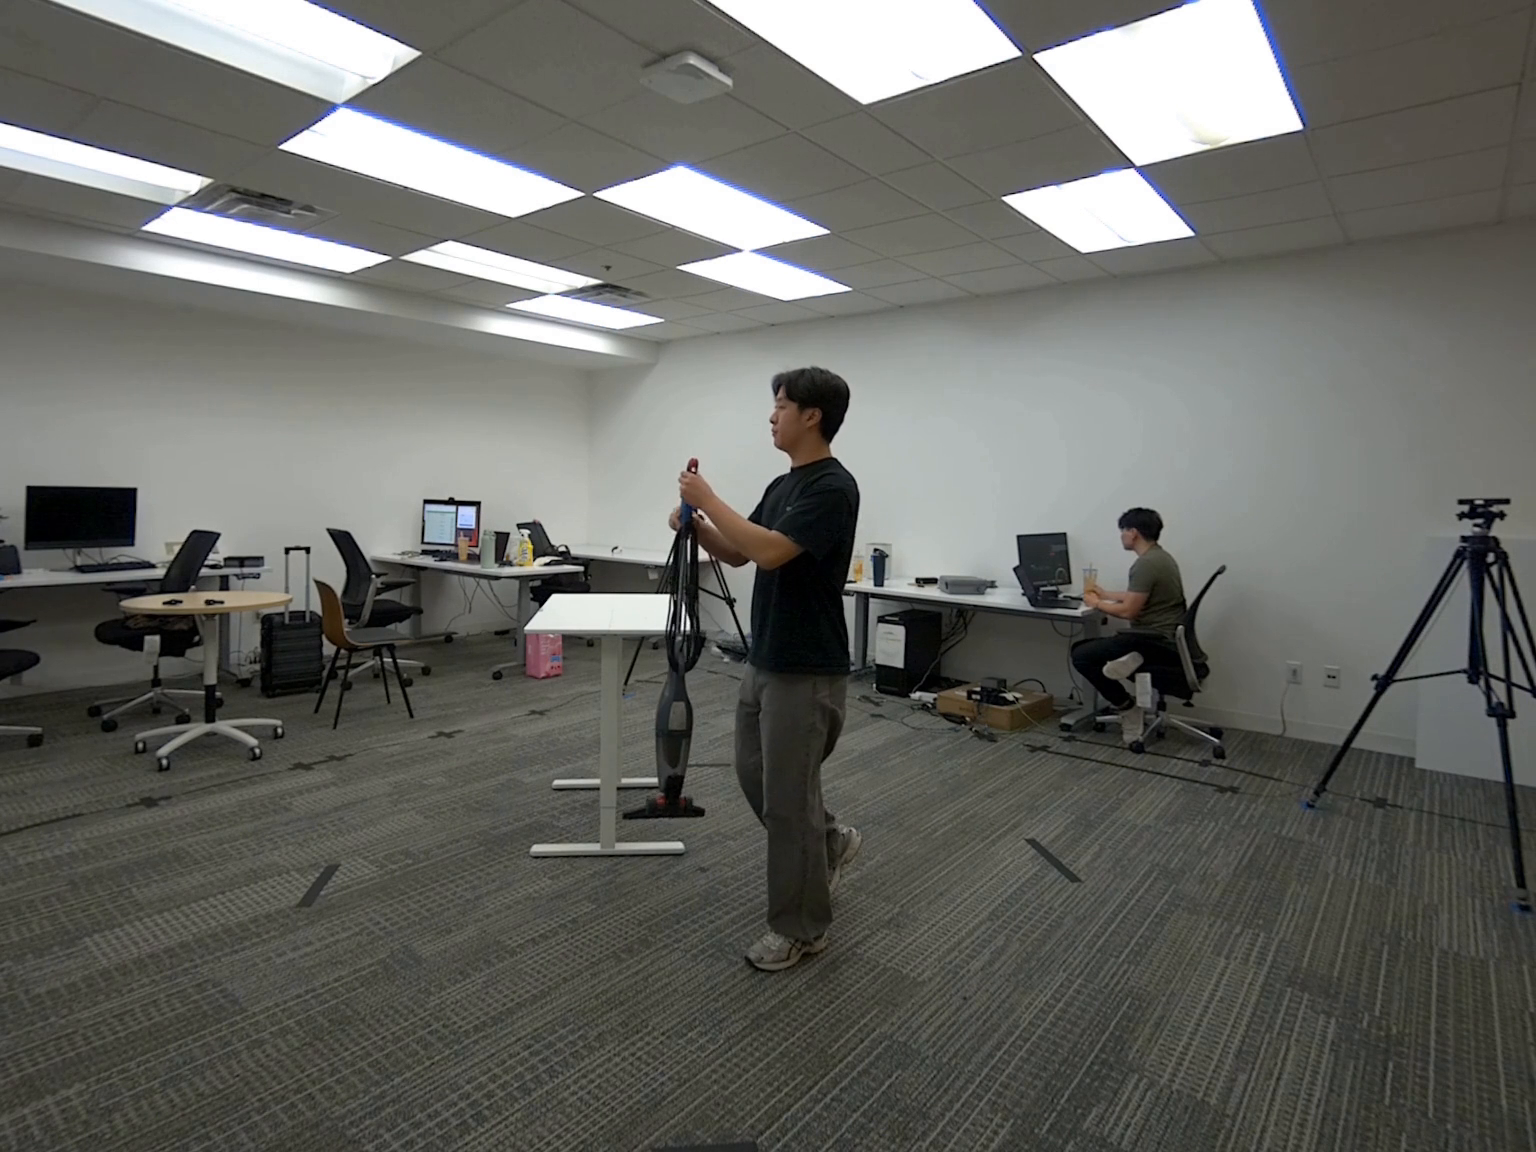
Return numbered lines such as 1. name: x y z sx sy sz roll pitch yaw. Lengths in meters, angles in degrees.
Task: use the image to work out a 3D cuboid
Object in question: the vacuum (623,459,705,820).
1. vacuum: -0.268 0.198 2.506 0.249 1.044 0.147 3 6 -13
